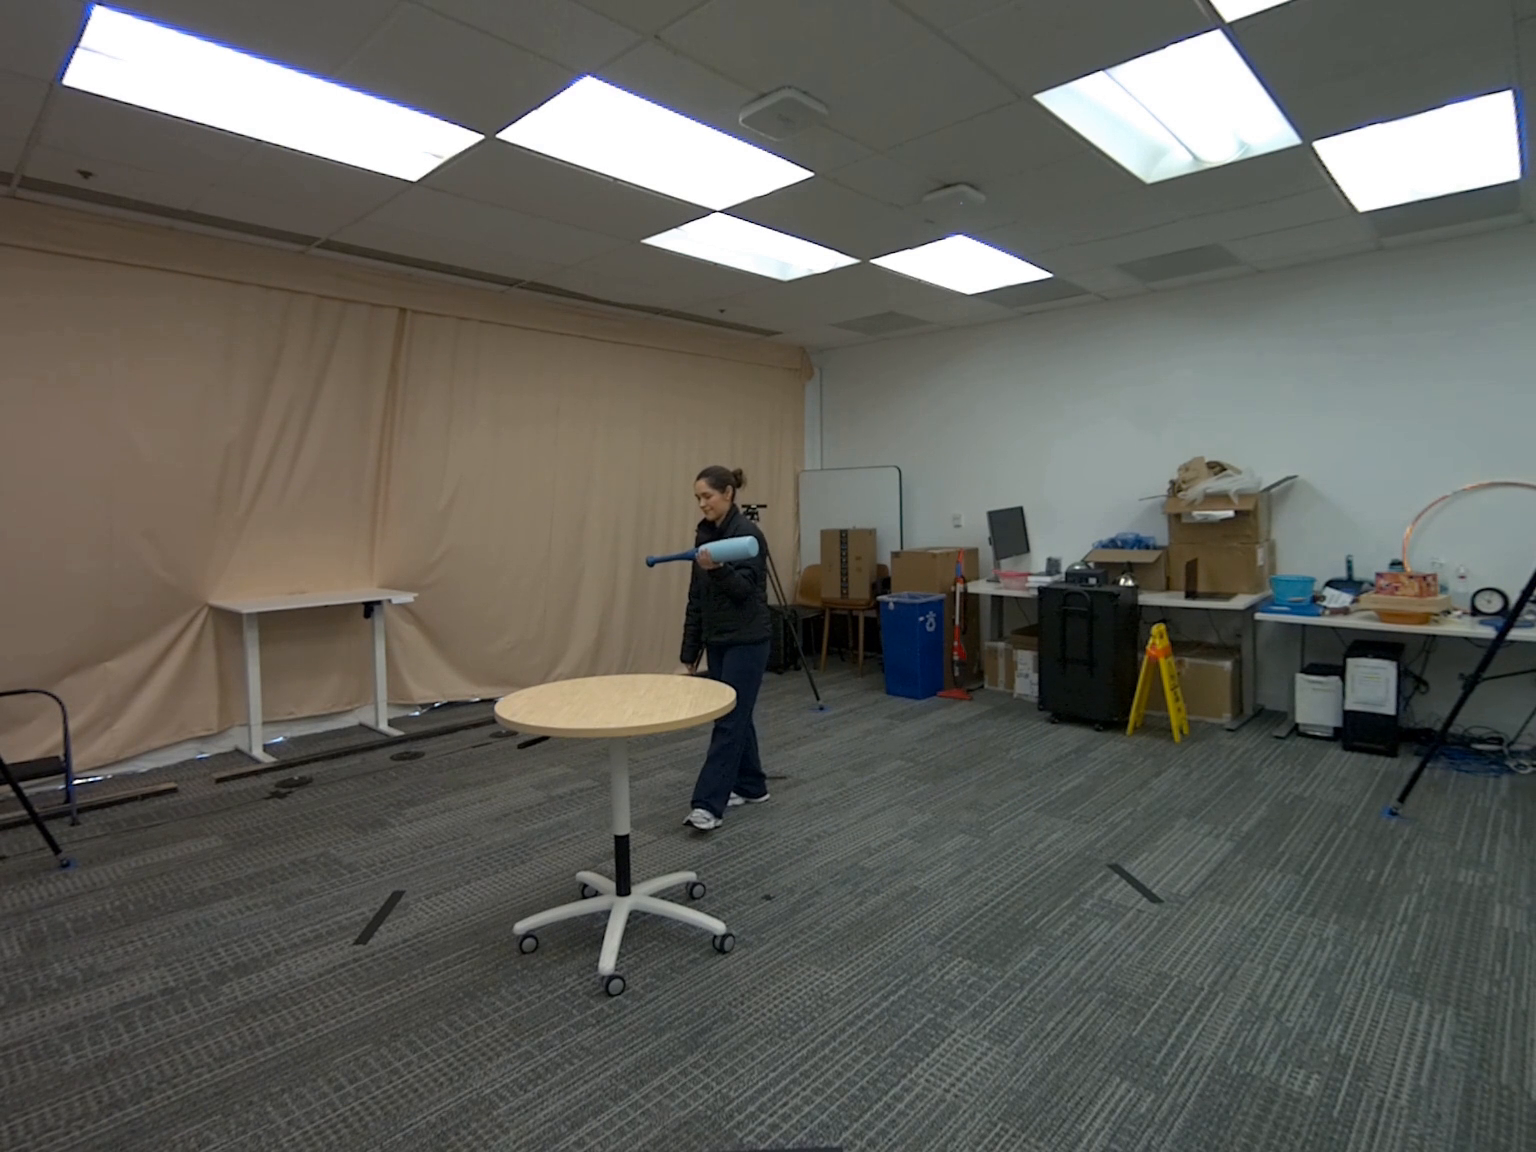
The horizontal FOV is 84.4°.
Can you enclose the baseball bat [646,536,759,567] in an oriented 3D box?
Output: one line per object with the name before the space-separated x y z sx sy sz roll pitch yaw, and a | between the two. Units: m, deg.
baseball bat | -0.289 -0.086 3.460 0.558 0.089 0.086 -7 0 34
